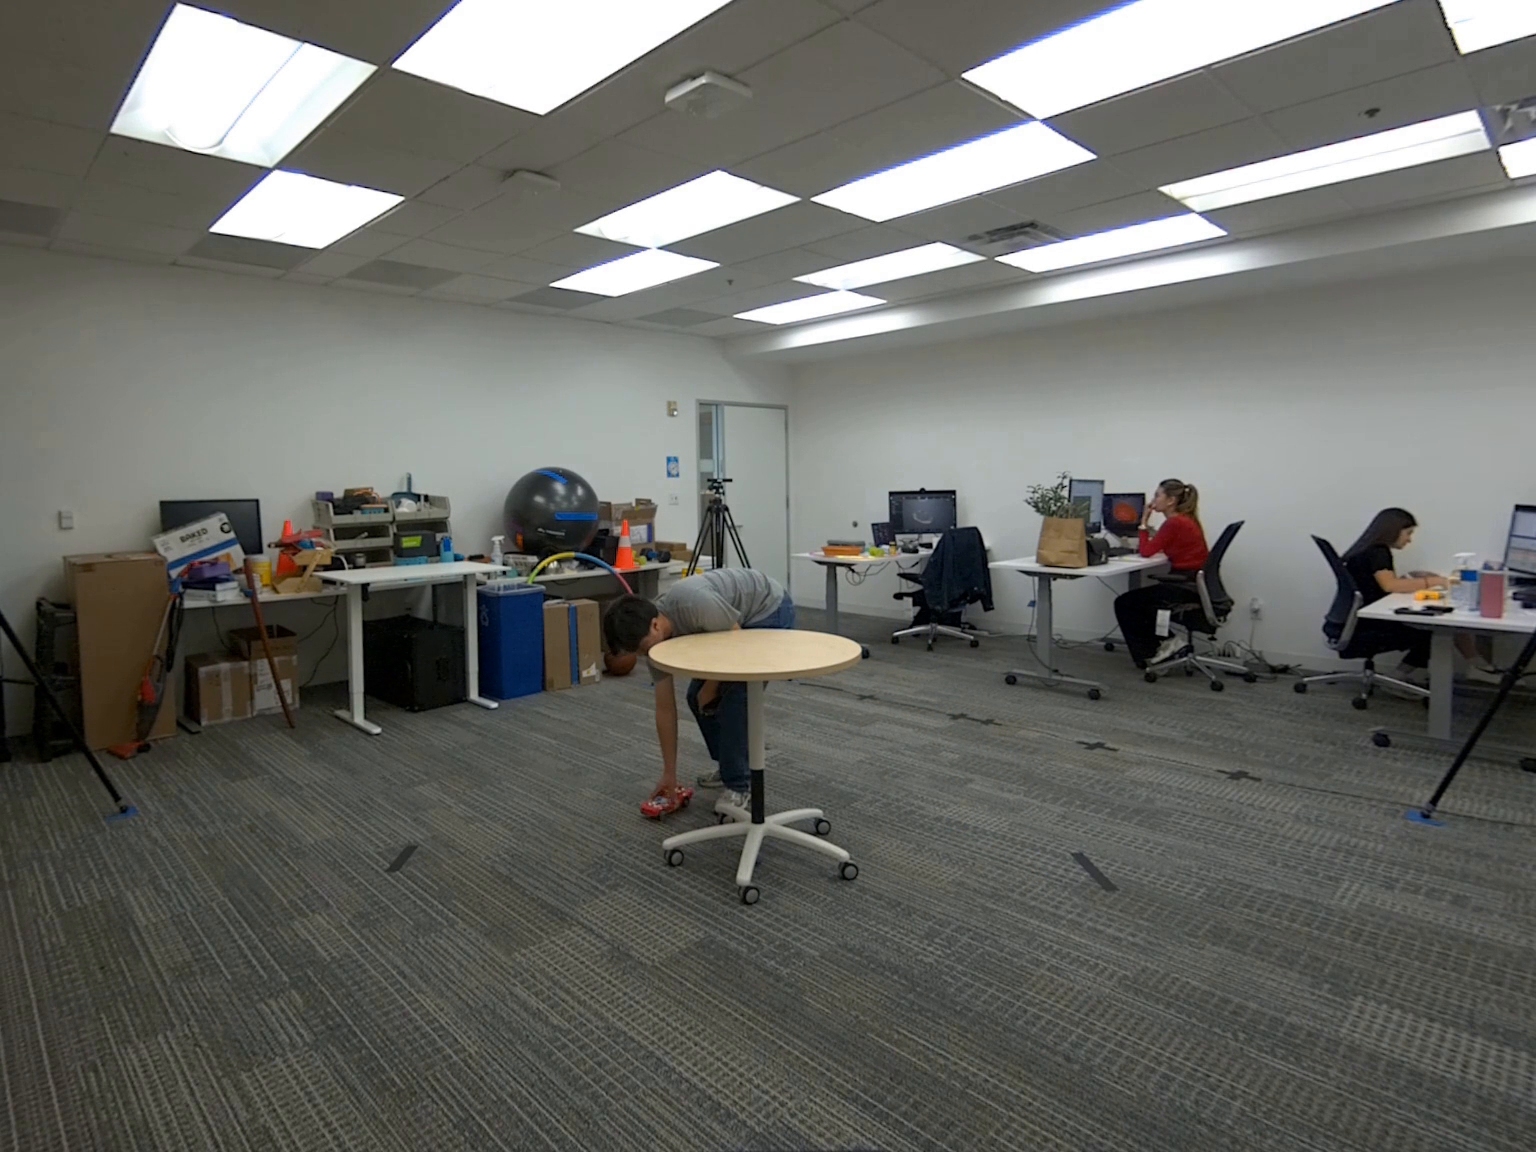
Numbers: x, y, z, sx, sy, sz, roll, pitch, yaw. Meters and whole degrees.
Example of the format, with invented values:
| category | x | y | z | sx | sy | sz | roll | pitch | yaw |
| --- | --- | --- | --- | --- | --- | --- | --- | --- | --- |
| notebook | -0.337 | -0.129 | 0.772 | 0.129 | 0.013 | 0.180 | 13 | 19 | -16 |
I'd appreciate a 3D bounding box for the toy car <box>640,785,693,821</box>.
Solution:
| category | x | y | z | sx | sy | sz | roll | pitch | yaw |
| --- | --- | --- | --- | --- | --- | --- | --- | --- | --- |
| toy car | -0.422 | 0.950 | 3.604 | 0.134 | 0.082 | 0.251 | 2 | 17 | 36 |
